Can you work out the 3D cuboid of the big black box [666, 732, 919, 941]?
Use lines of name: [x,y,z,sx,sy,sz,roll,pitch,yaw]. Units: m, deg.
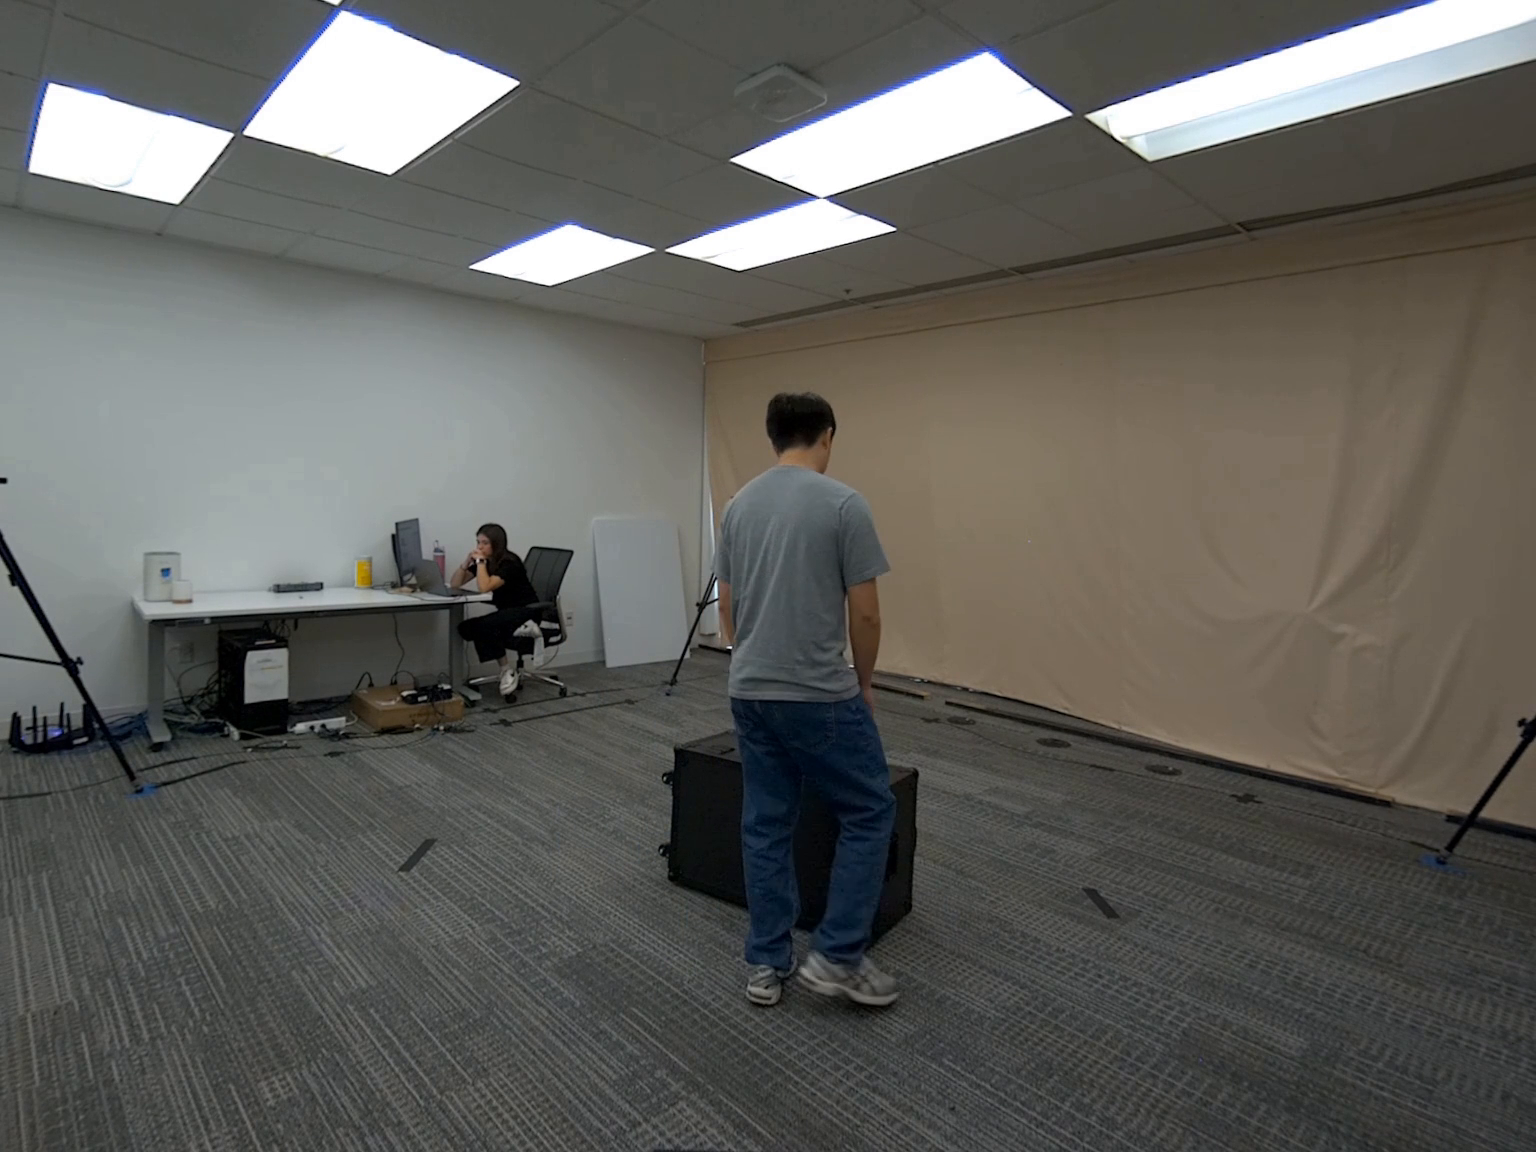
big black box: [0.053,0.867,2.965,0.881,0.520,0.387,5,3,33]
